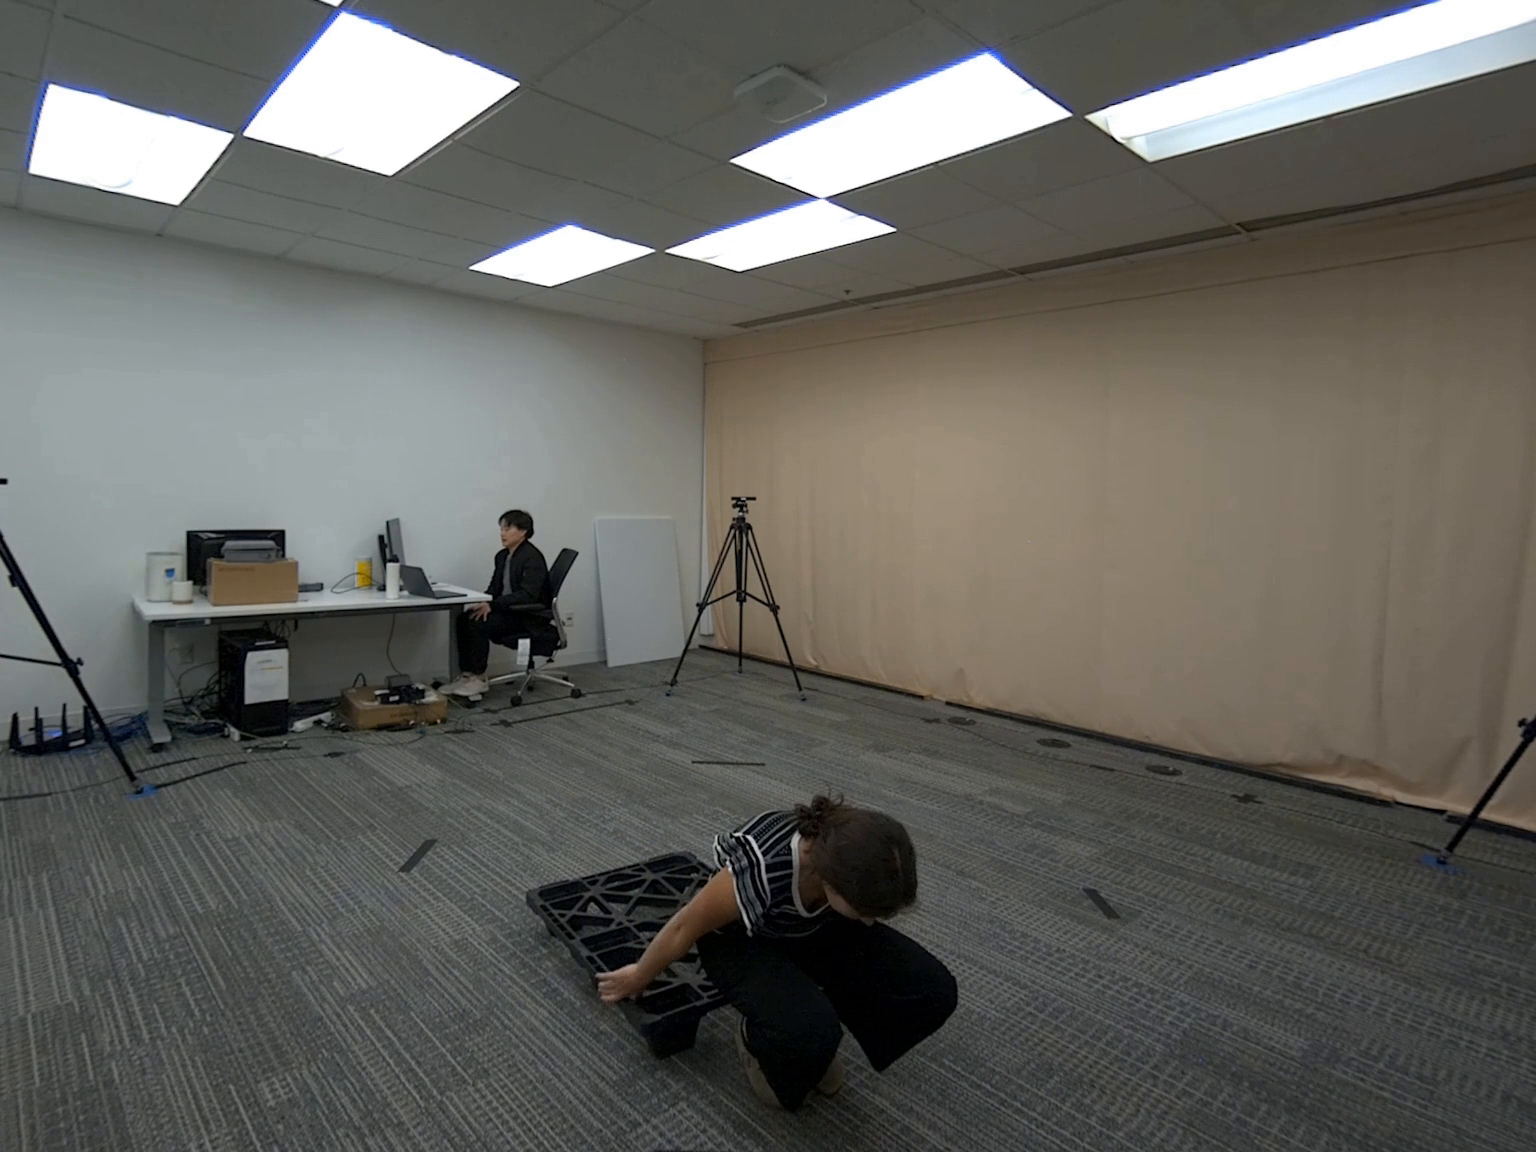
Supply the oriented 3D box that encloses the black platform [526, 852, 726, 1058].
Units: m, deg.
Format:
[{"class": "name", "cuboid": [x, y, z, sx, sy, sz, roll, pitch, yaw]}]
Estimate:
[{"class": "black platform", "cuboid": [-0.307, 1.091, 2.502, 0.592, 0.143, 0.825, -3, 7, -35]}]
